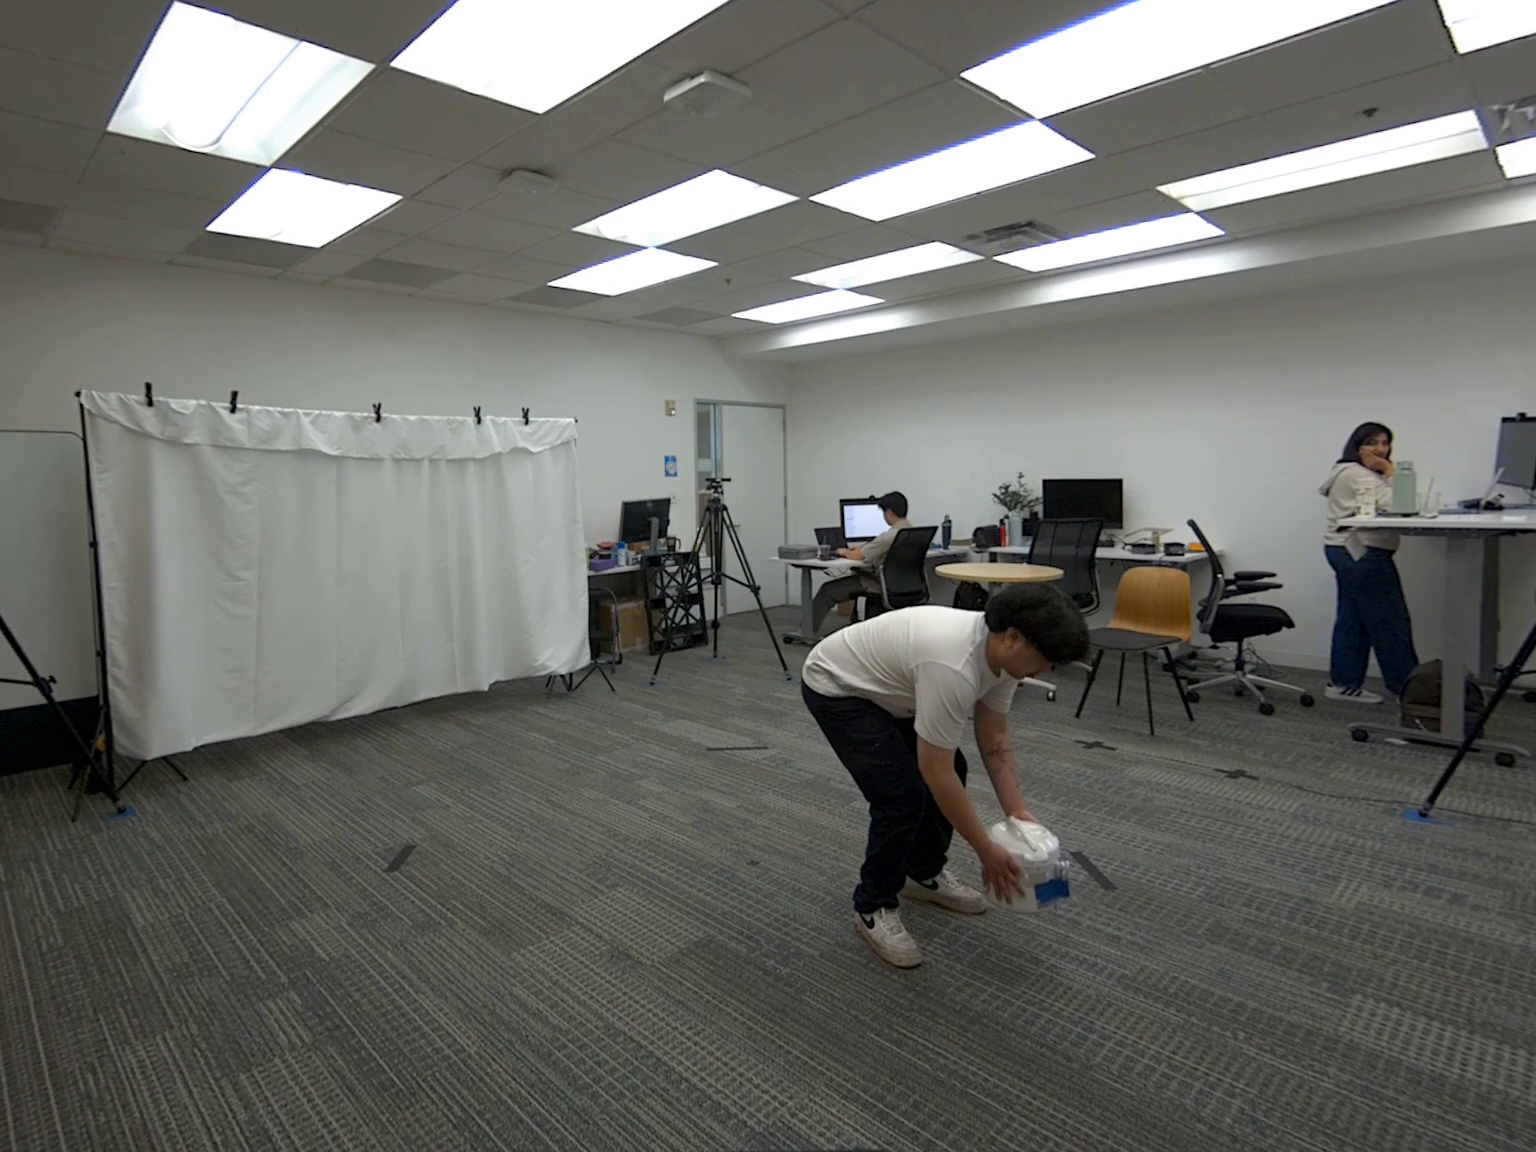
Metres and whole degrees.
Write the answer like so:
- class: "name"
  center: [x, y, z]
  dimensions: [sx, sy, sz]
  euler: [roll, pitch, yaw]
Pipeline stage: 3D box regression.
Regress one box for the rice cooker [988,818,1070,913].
- class: "rice cooker"
  center: [0.718, 0.817, 2.445]
  dimensions: [0.217, 0.231, 0.222]
  euler: [-3, 7, -1]
